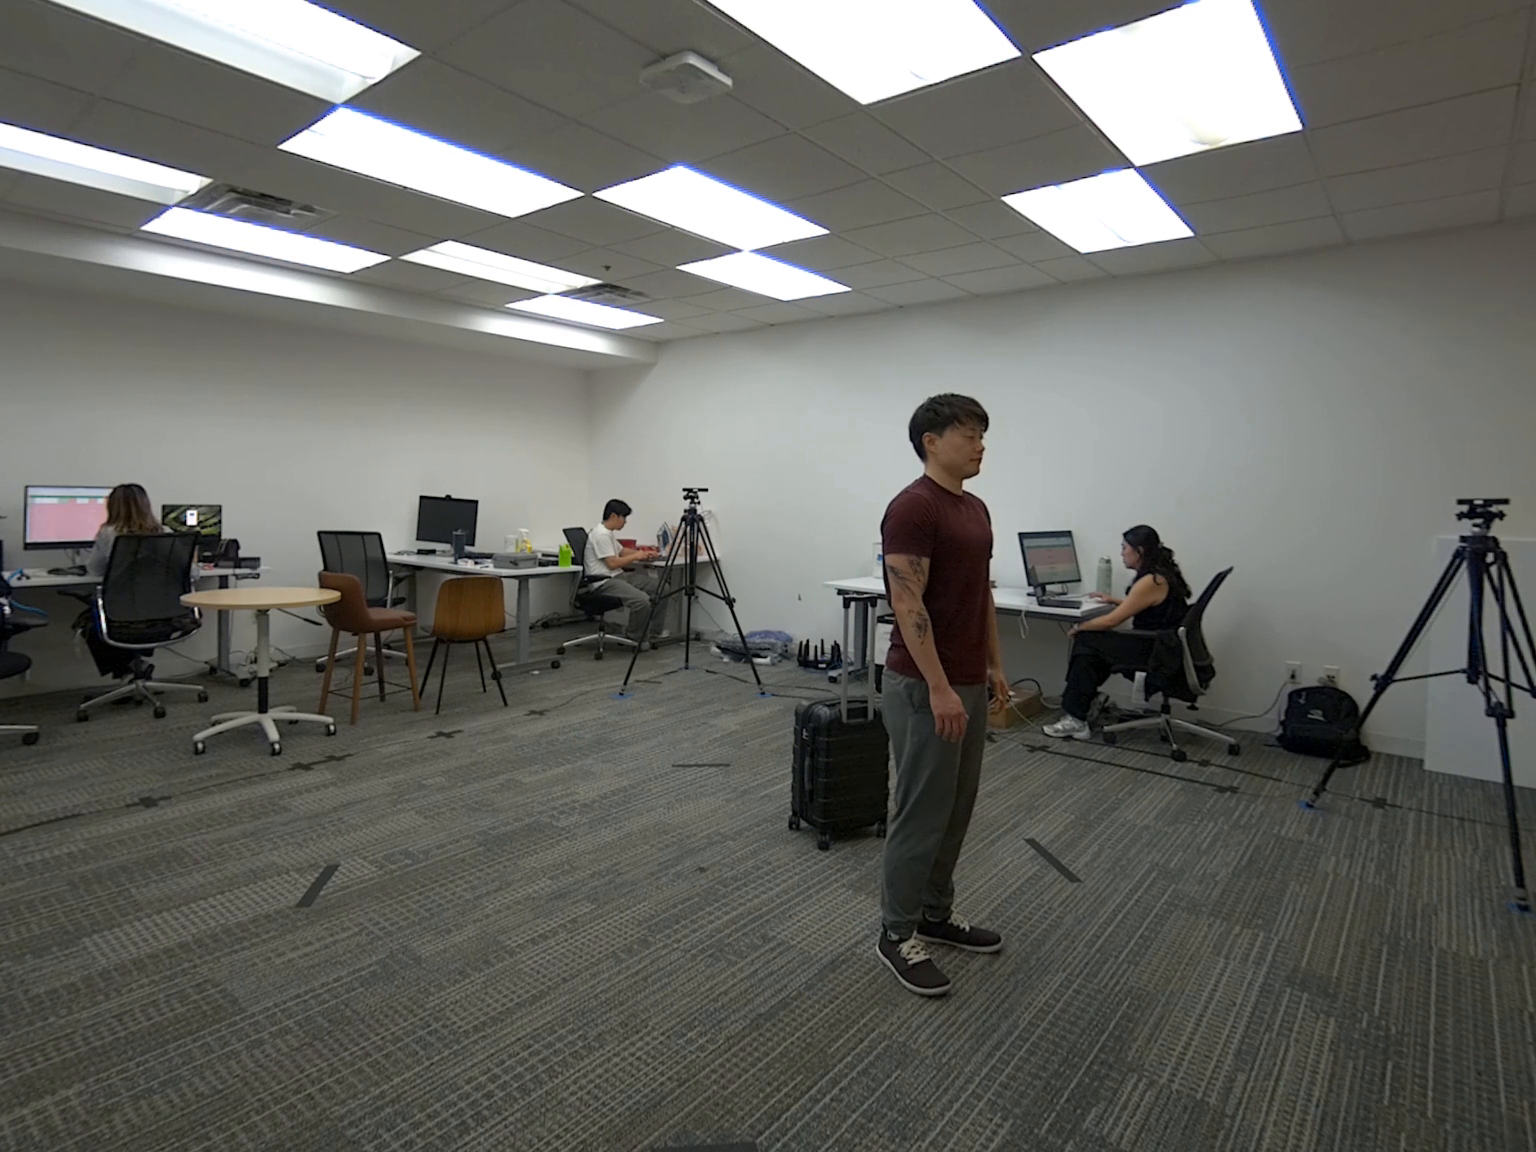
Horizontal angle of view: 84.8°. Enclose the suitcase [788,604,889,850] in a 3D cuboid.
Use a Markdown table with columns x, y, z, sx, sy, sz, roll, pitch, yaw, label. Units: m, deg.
| x | y | z | sx | sy | sz | roll | pitch | yaw | label |
| --- | --- | --- | --- | --- | --- | --- | --- | --- | --- |
| 0.291 | 0.567 | 3.483 | 0.374 | 0.979 | 0.263 | 1 | 0 | -26 | suitcase |
